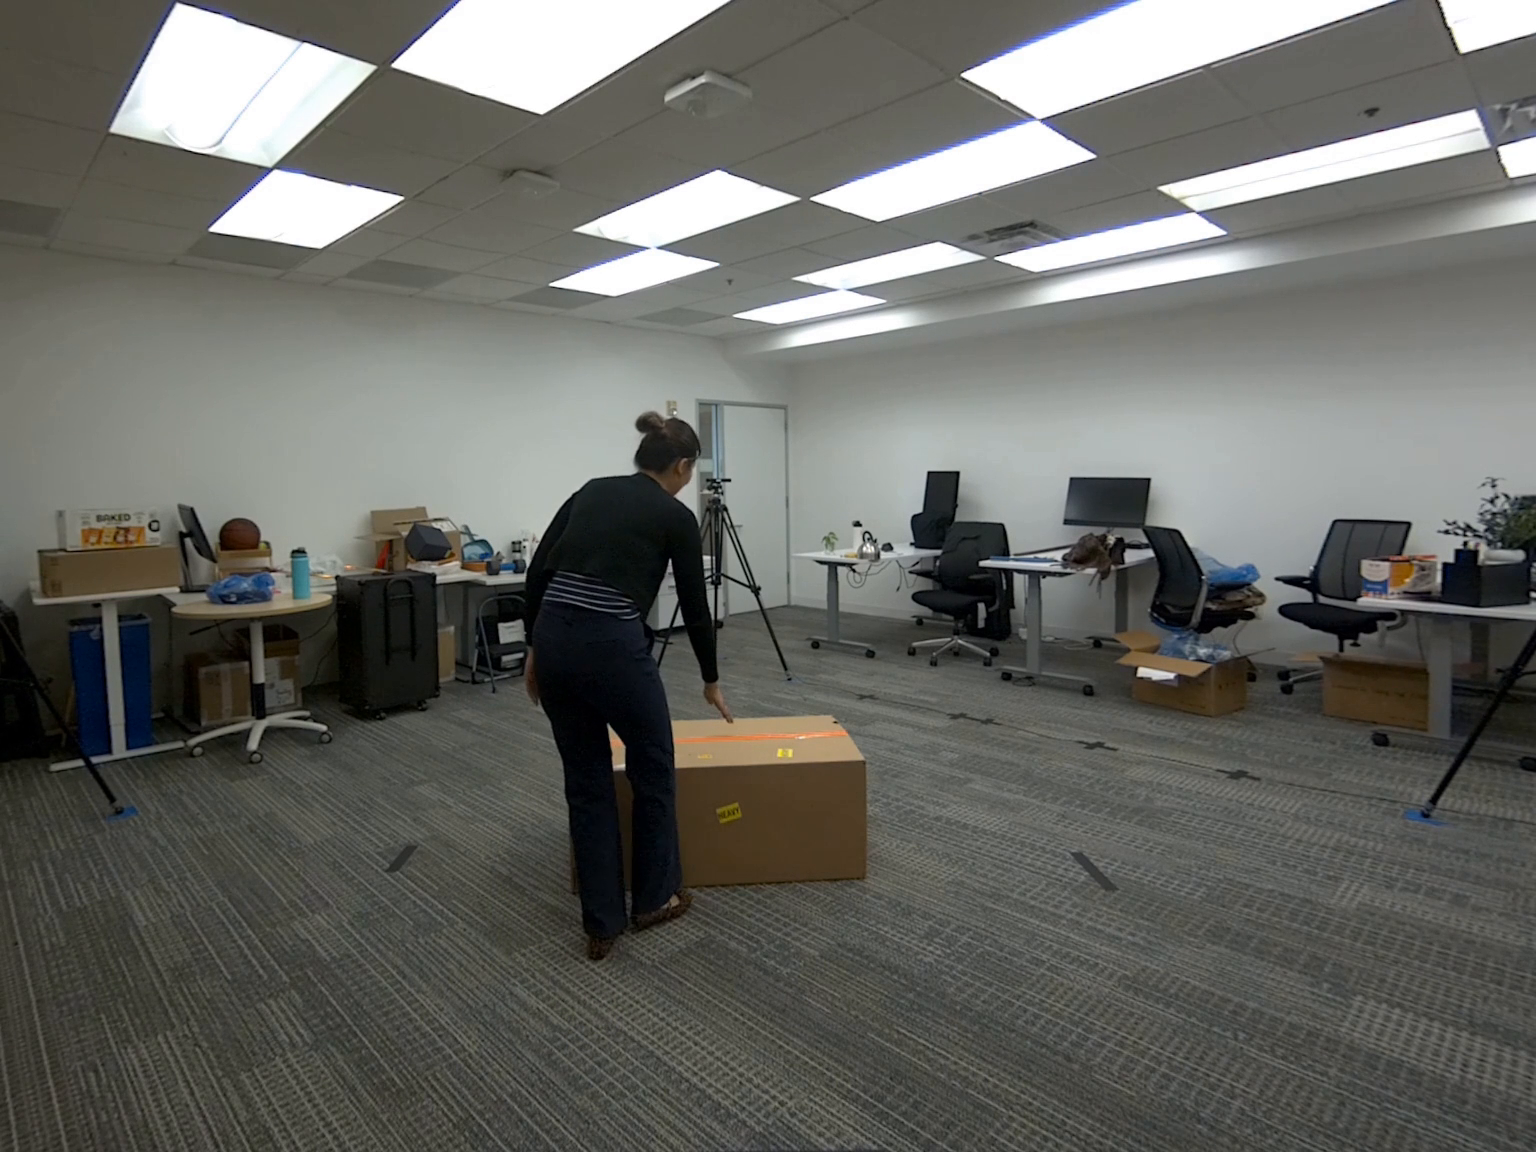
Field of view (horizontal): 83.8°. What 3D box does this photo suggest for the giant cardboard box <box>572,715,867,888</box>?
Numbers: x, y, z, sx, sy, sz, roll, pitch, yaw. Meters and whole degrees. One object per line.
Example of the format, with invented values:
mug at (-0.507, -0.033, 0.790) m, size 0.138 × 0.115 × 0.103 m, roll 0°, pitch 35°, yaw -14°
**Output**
giant cardboard box at (-0.199, 0.817, 3.206) m, size 1.021 × 0.424 × 0.583 m, roll -2°, pitch 6°, yaw -5°
